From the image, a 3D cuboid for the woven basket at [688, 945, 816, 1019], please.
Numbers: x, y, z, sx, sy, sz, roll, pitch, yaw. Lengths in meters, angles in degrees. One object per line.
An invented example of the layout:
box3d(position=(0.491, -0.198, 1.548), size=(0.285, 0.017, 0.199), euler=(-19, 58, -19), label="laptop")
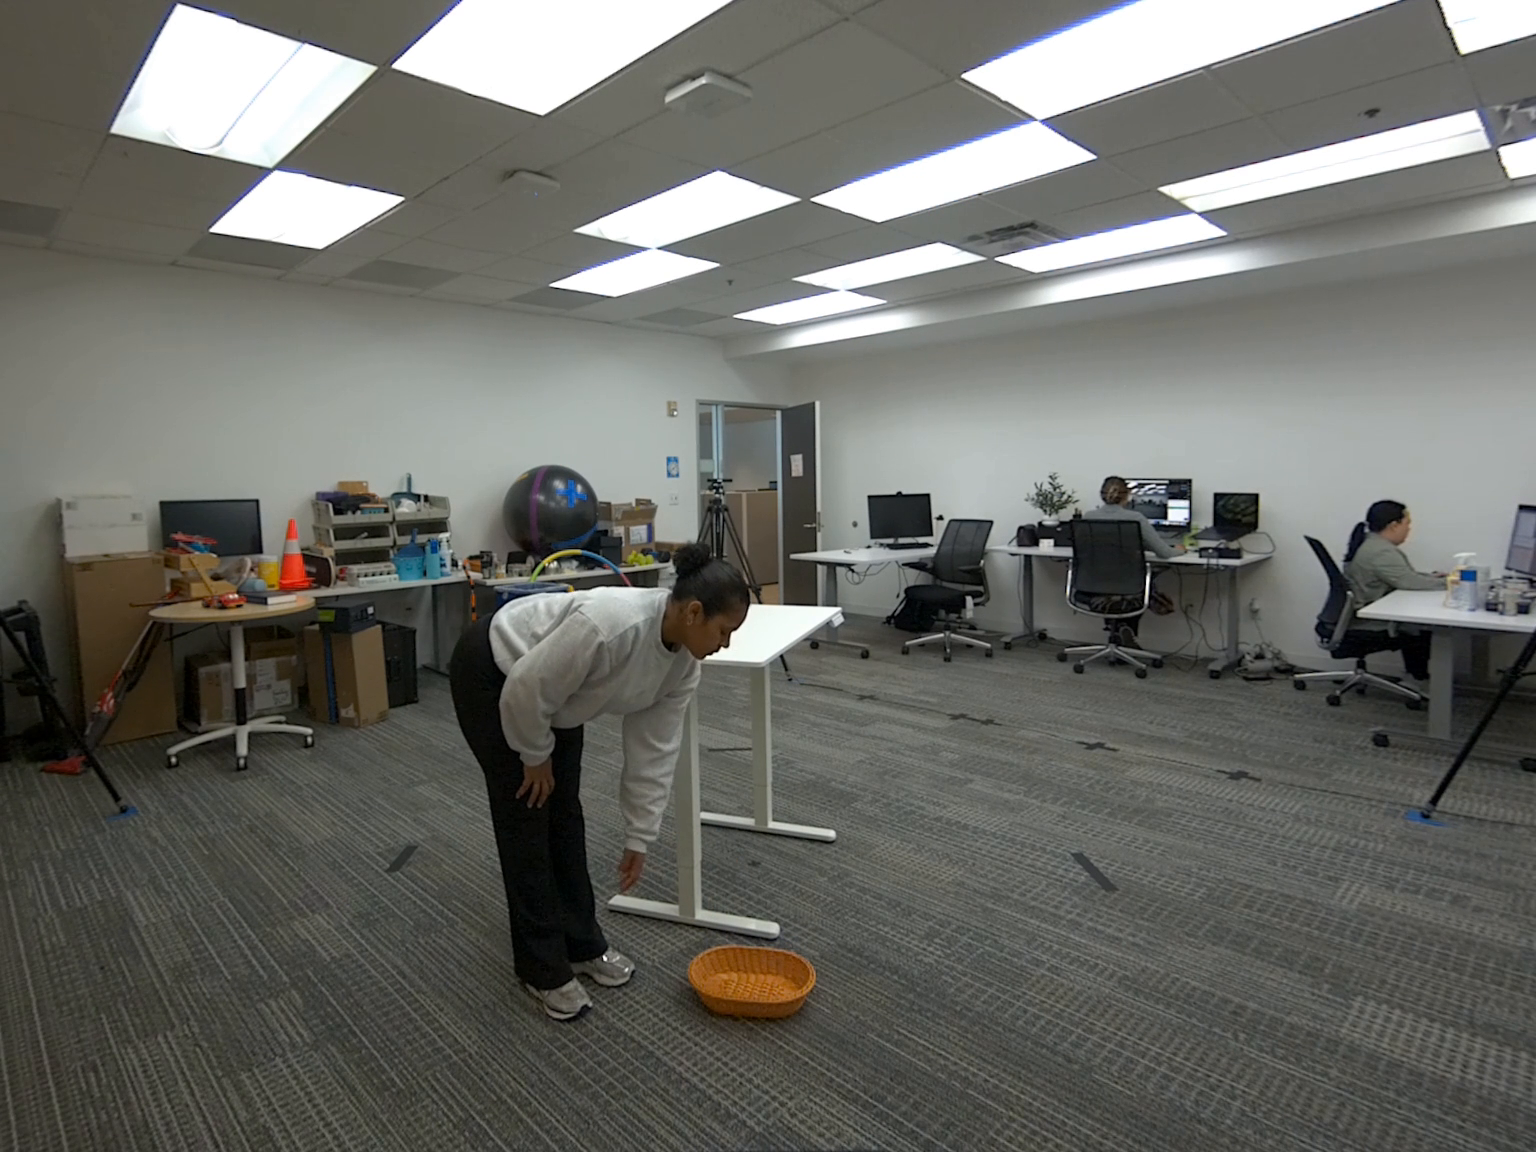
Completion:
box3d(position=(-0.038, 1.094, 2.309), size=(0.355, 0.073, 0.251), euler=(0, 7, 12), label="woven basket")
